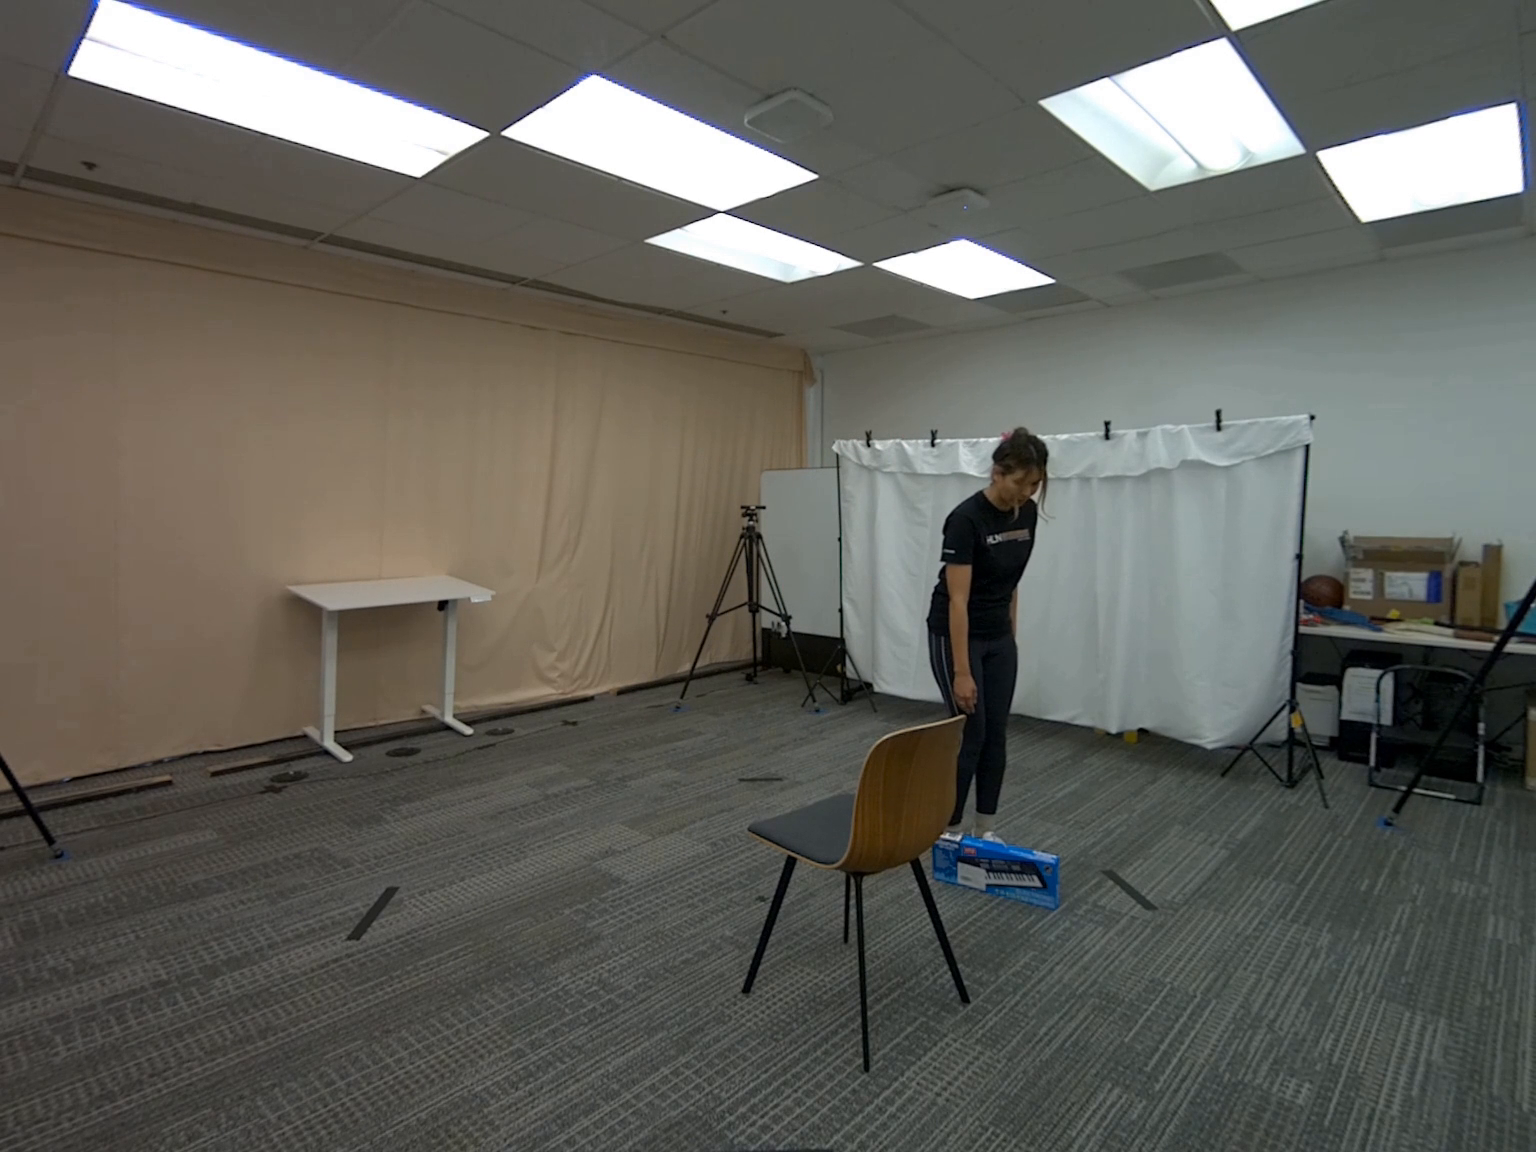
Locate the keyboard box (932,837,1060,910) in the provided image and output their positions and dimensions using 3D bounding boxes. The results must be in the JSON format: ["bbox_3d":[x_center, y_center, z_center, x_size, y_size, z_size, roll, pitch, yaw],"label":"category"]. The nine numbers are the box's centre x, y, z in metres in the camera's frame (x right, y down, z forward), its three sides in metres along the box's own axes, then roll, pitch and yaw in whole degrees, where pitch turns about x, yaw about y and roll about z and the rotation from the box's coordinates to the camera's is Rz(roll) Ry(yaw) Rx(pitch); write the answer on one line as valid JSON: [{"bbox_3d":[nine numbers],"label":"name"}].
[{"bbox_3d":[0.817,1.052,3.024,0.450,0.175,0.057,2,9,33],"label":"keyboard box"}]
